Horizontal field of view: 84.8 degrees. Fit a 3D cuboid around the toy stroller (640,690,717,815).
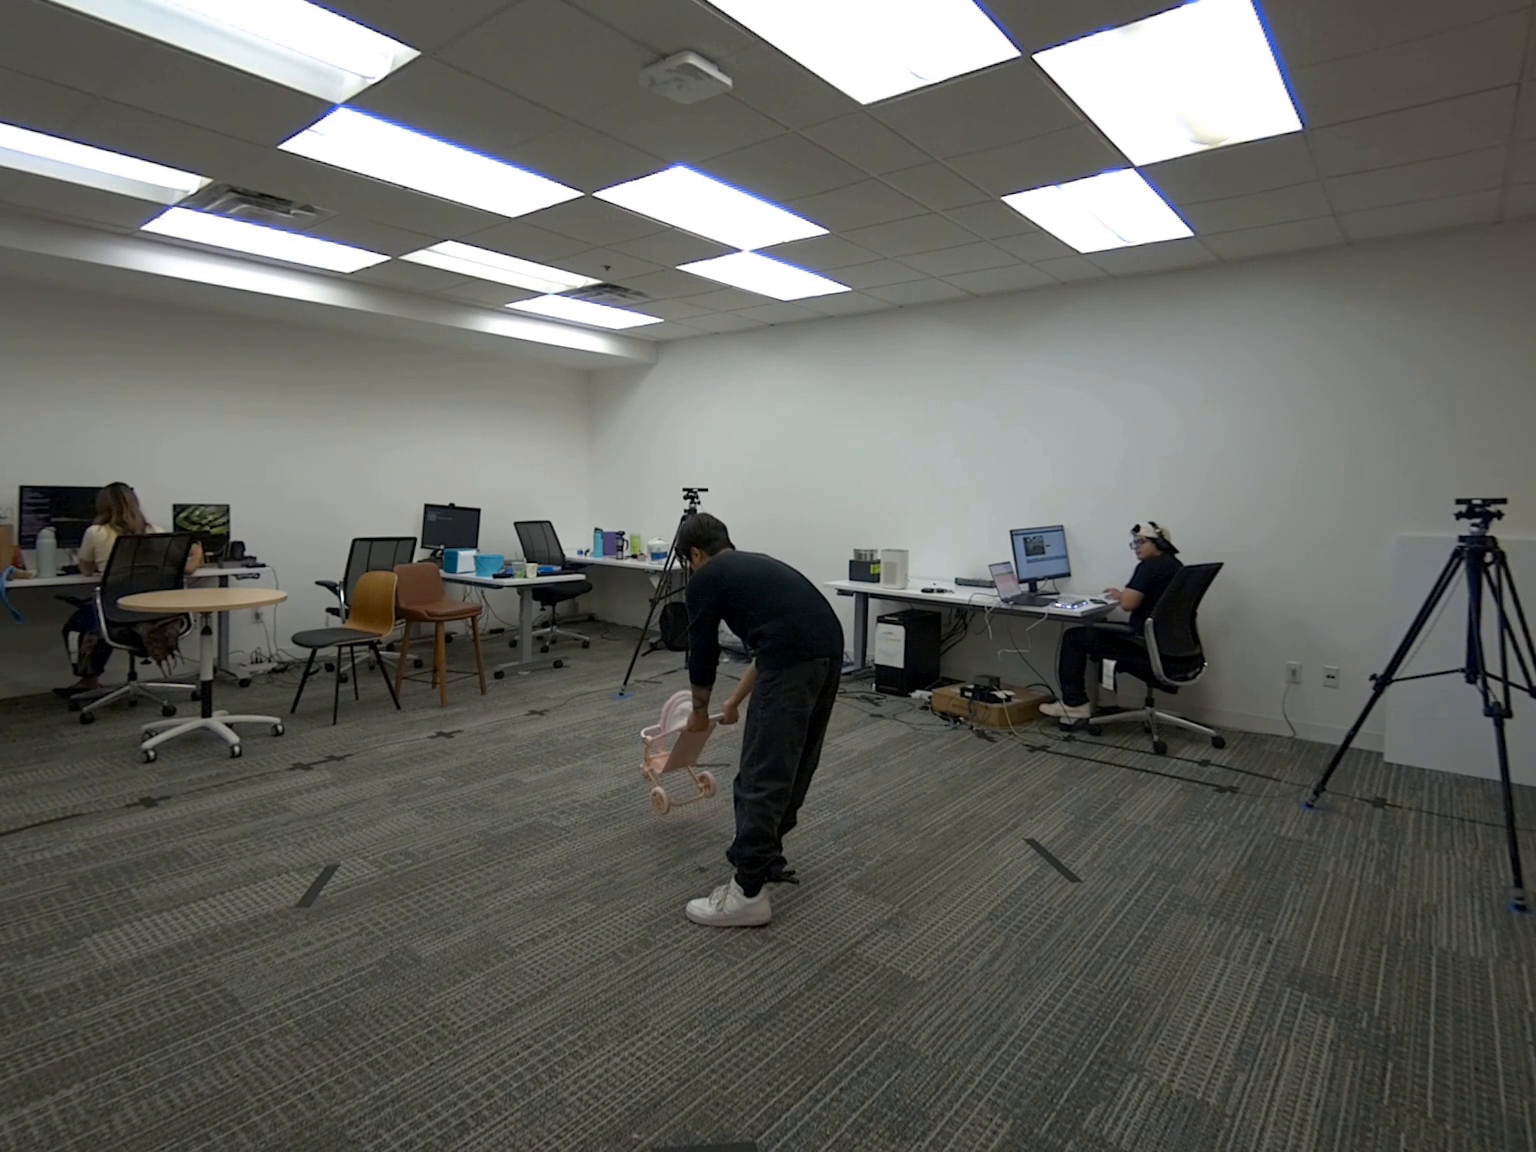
[{"bbox_3d":[-0.382,0.698,3.491,0.273,0.528,0.356,-3,28,-39],"label":"toy stroller"}]
